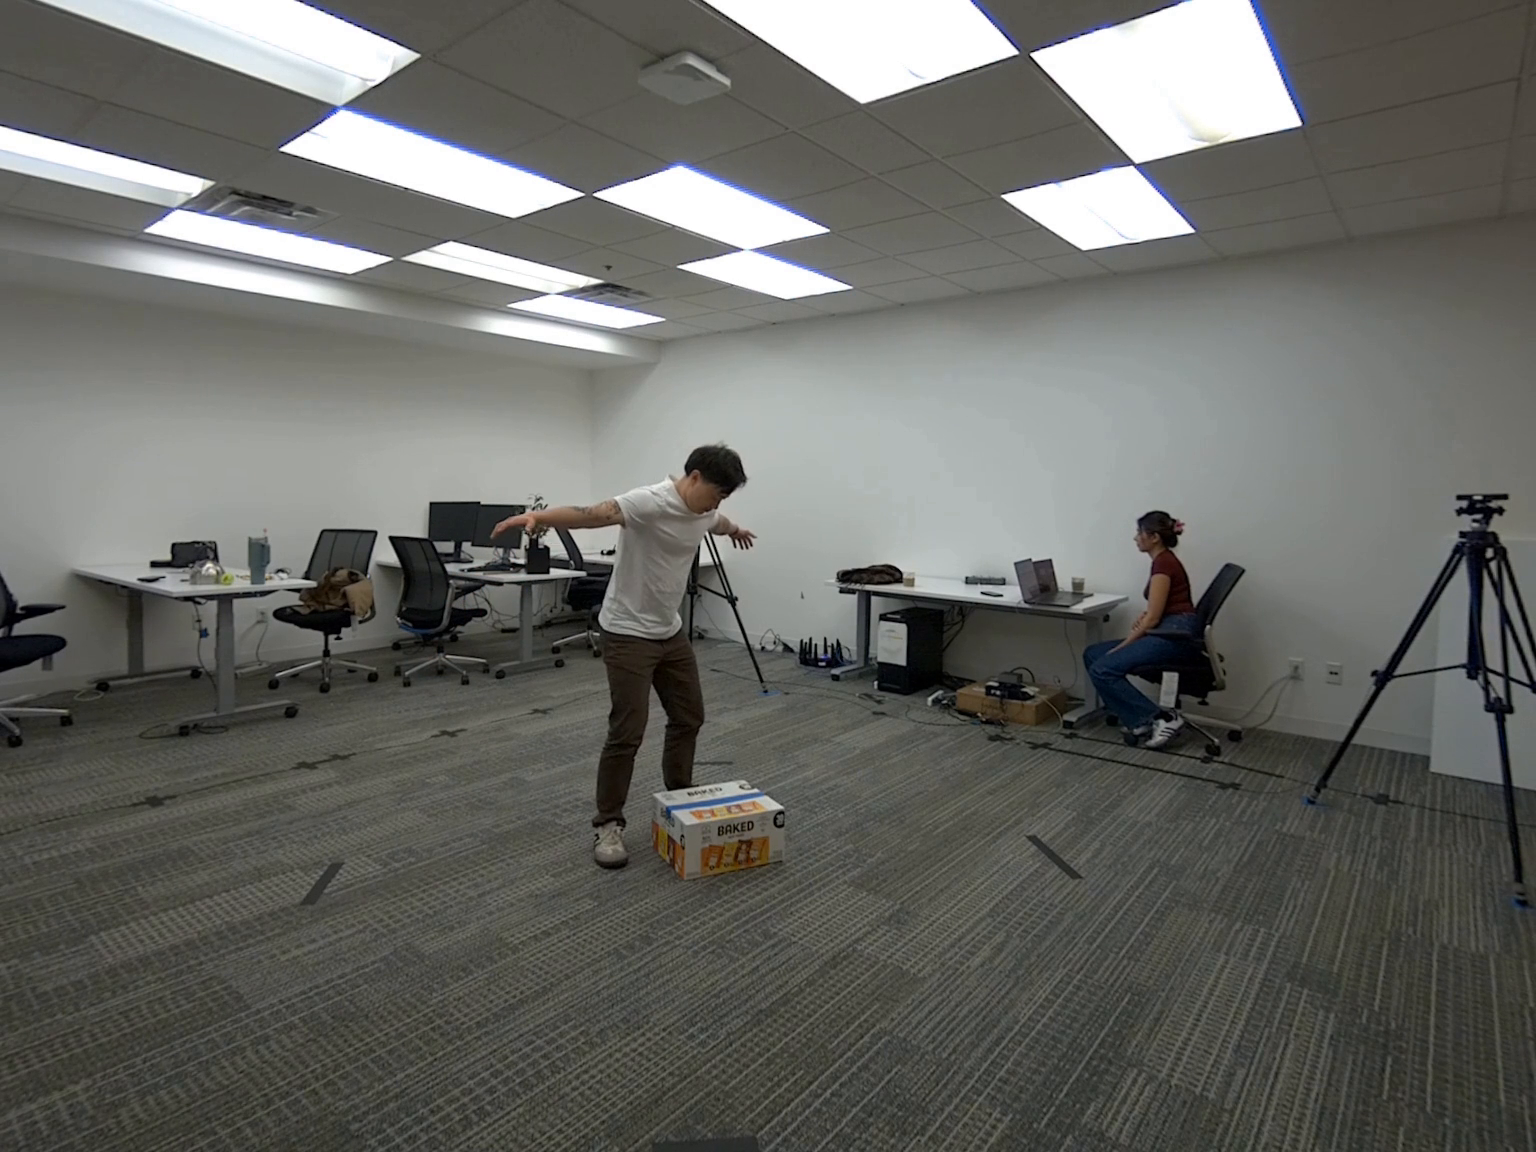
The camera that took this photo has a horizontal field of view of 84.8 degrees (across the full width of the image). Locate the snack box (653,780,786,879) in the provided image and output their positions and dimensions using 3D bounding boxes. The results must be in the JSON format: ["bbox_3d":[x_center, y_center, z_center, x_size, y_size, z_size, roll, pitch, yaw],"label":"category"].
[{"bbox_3d":[-0.204,0.952,3.231,0.395,0.205,0.350,-2,6,-27],"label":"snack box"}]
